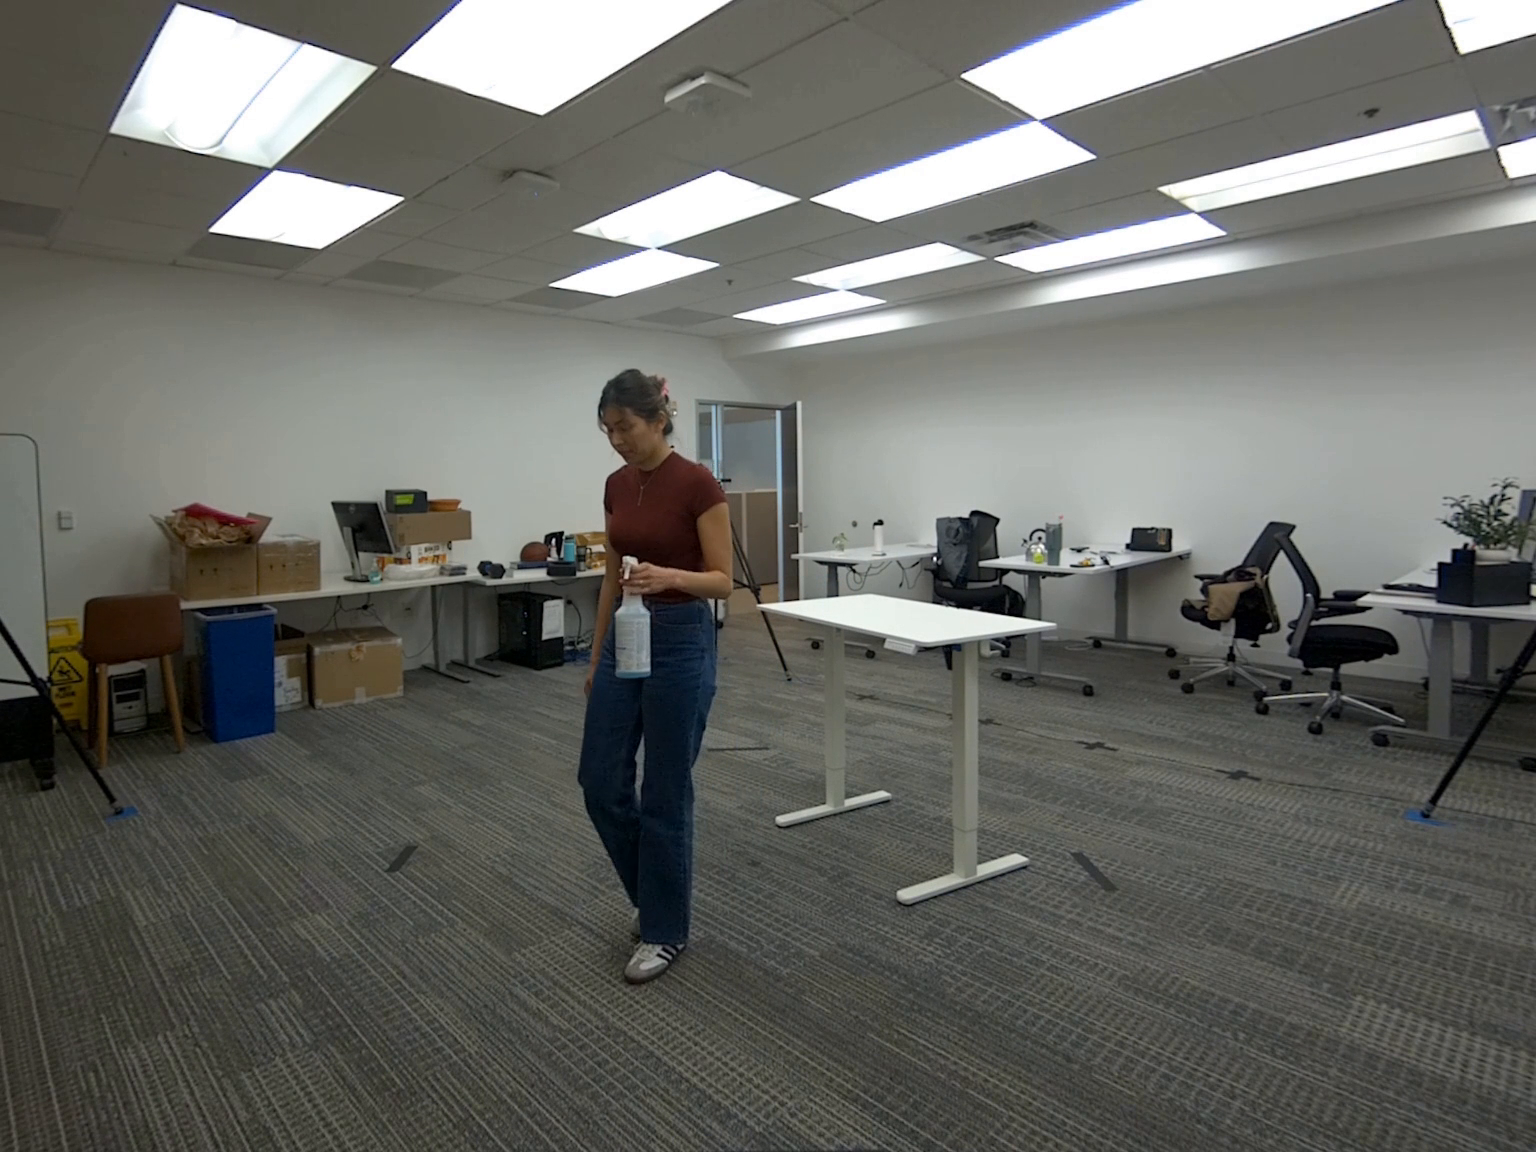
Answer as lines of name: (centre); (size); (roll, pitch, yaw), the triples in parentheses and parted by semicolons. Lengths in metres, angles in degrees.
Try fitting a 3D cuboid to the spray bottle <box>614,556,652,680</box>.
spray bottle: (-0.337, 0.109, 2.124); (0.089, 0.298, 0.087); (-4, -3, 36)
